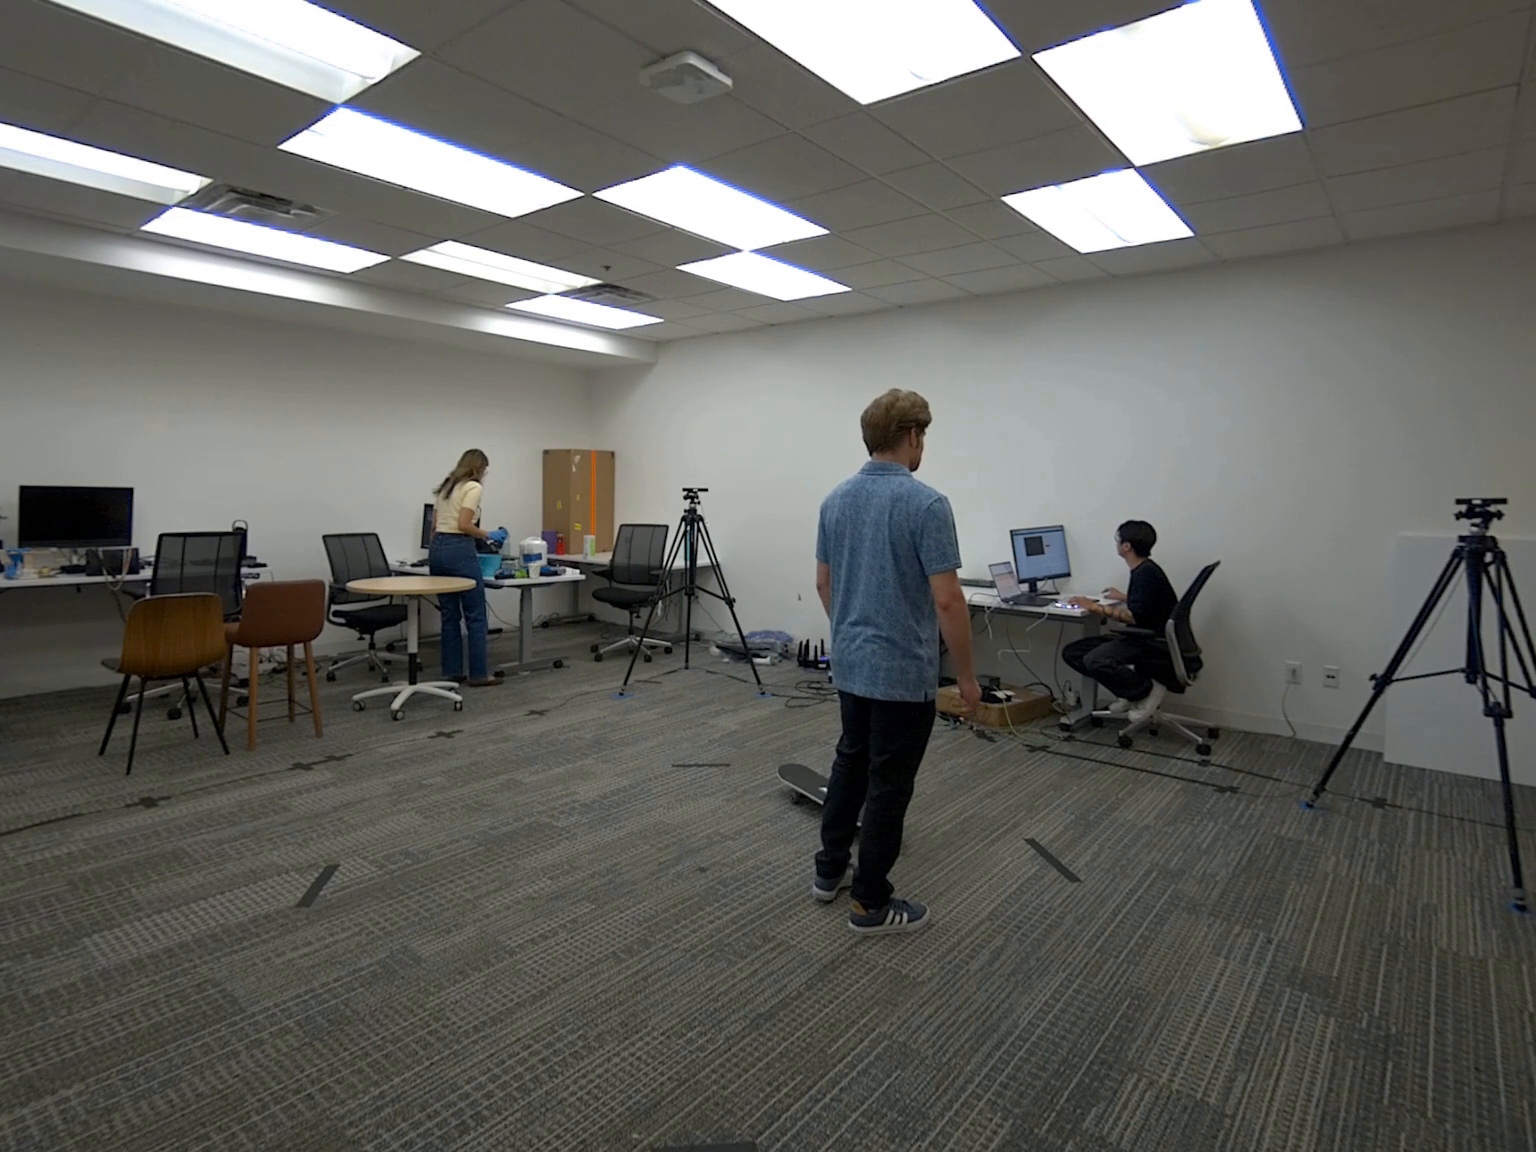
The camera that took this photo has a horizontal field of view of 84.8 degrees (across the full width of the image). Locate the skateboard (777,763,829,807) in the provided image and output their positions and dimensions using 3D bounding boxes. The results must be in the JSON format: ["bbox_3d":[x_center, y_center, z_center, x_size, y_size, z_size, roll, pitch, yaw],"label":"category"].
[{"bbox_3d":[0.276,0.966,3.643,0.188,0.110,0.809,-3,7,-29],"label":"skateboard"}]
